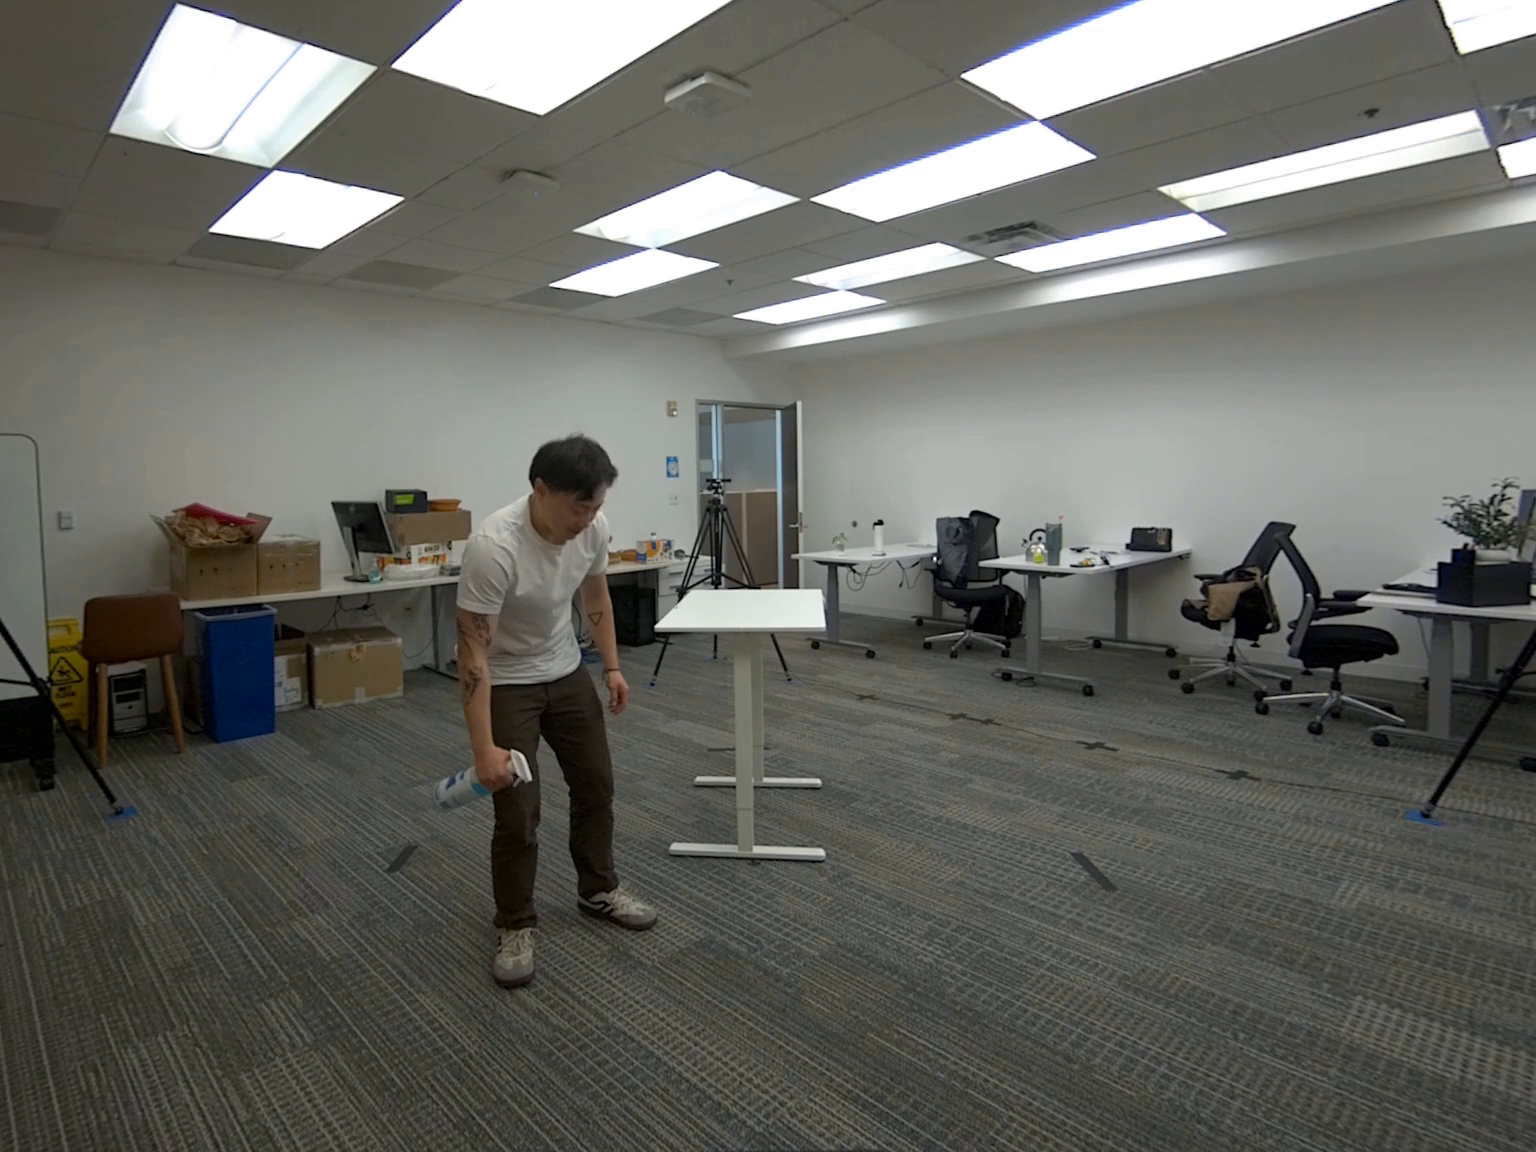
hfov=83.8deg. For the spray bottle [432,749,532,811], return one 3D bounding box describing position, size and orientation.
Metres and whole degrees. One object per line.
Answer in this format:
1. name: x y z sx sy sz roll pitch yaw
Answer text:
1. spray bottle: -0.763 0.554 2.264 0.300 0.093 0.083 -25 -37 20
